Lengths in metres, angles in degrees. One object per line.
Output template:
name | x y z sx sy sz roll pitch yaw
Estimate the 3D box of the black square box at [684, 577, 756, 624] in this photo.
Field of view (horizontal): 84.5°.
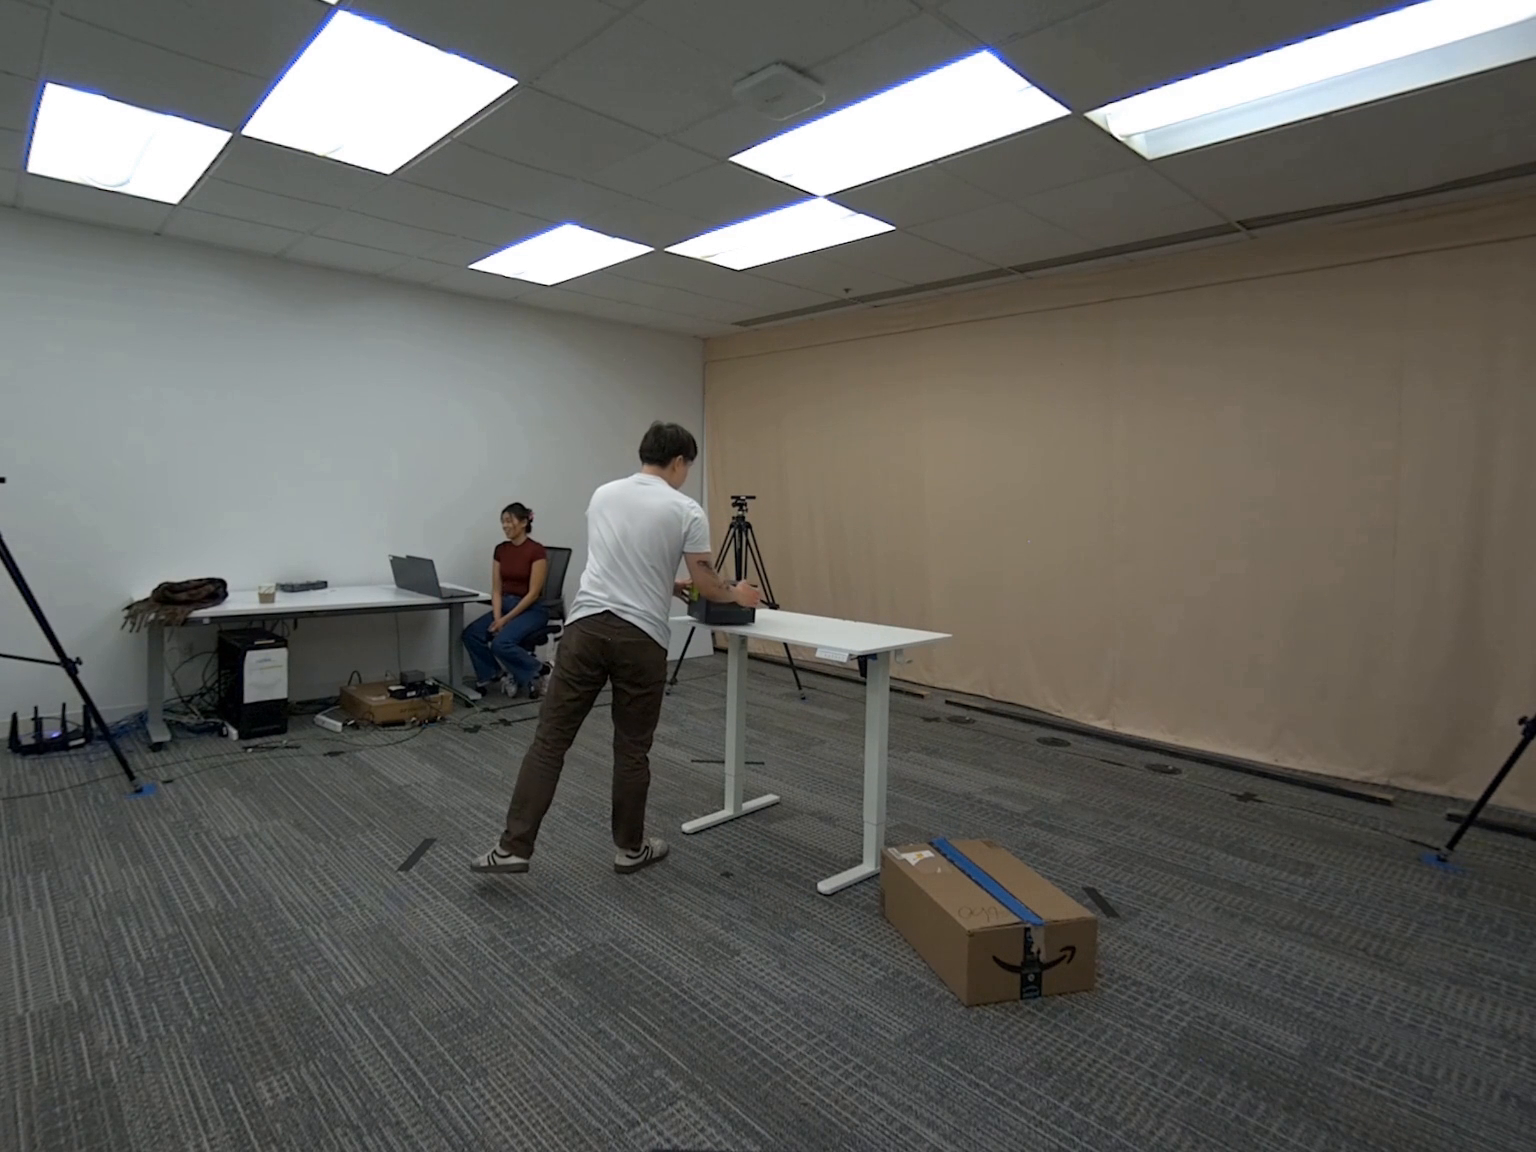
black square box | -0.199 0.097 3.432 0.213 0.155 0.232 2 4 -22
